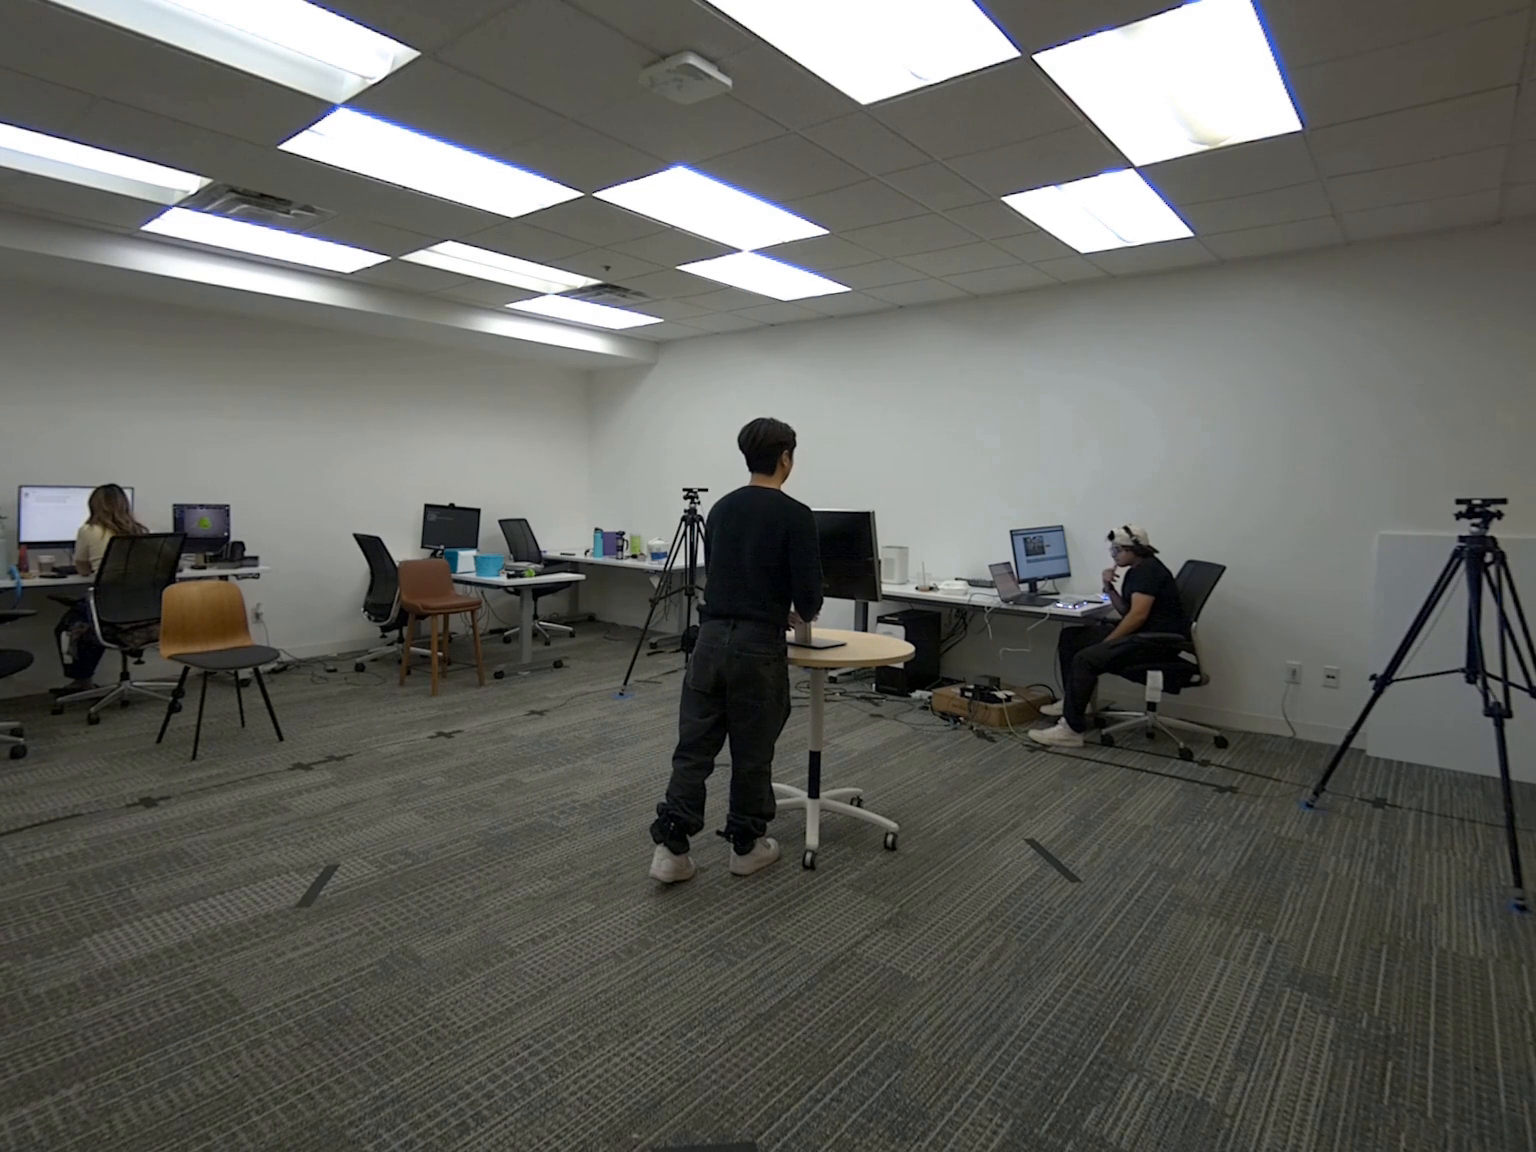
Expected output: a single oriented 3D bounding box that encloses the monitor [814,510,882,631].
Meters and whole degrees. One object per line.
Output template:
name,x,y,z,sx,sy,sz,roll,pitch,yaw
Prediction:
monitor,0.165,0.001,3.412,0.547,0.517,0.169,2,-2,40
